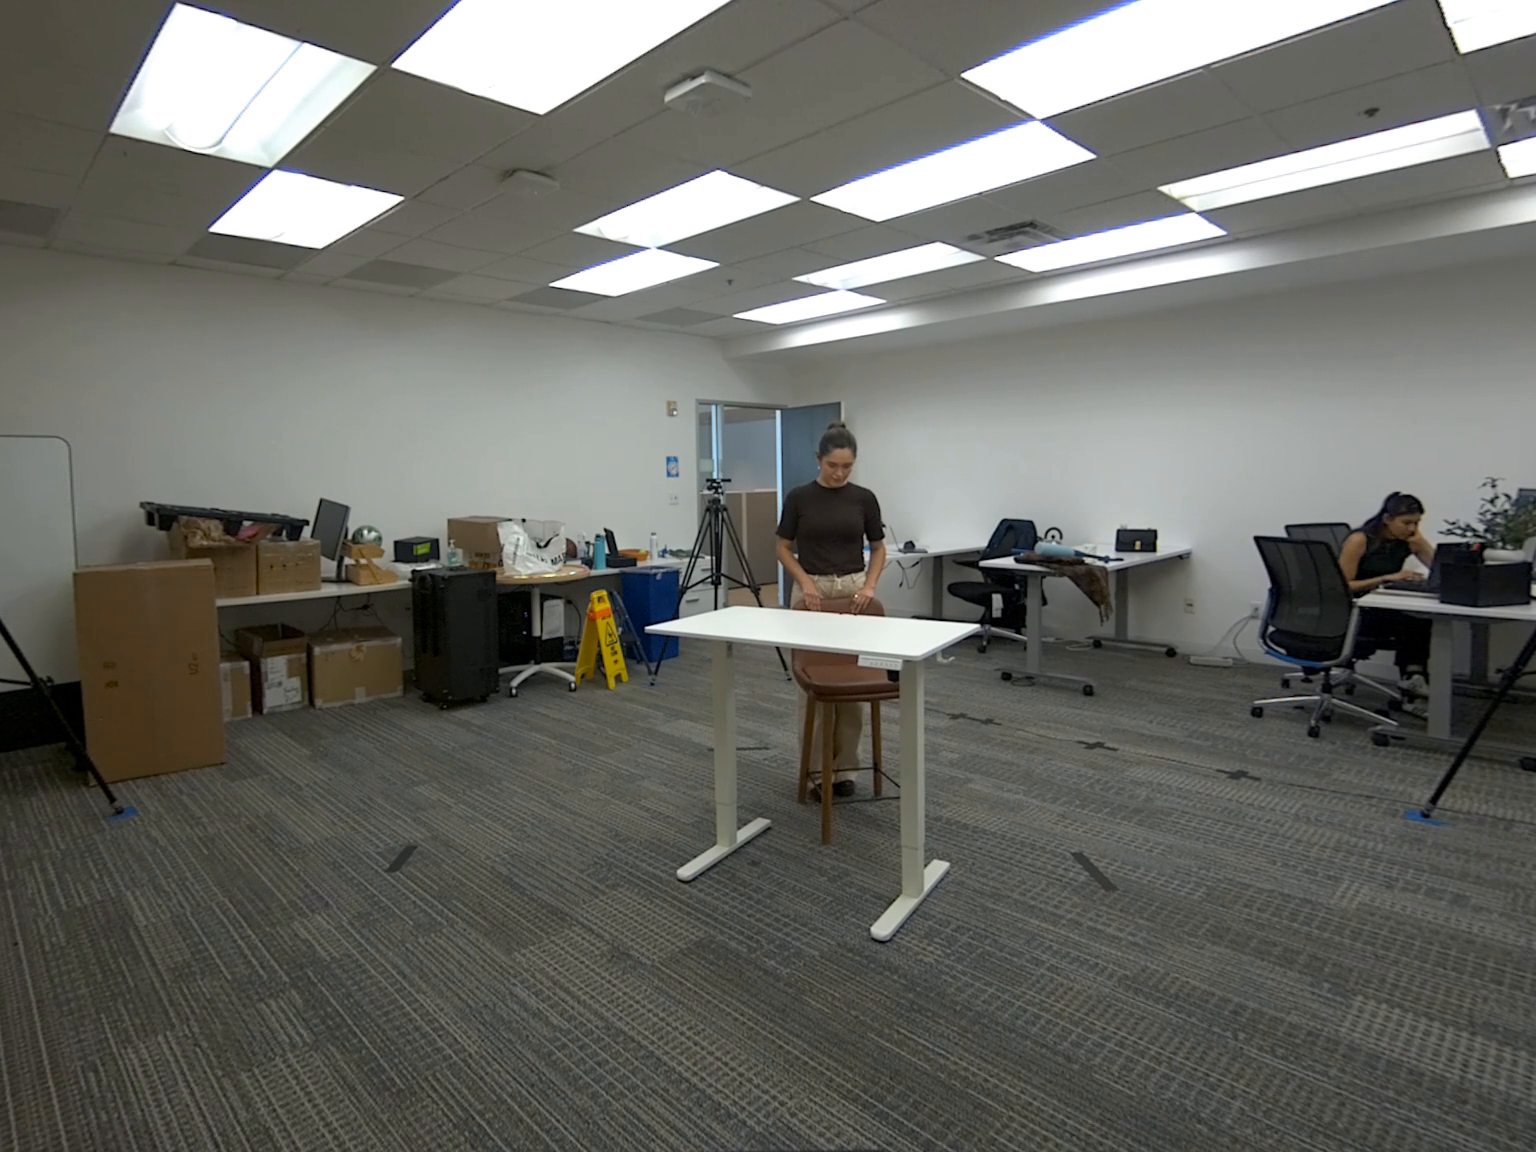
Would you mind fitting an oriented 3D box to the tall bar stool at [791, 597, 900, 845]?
[{"bbox_3d":[0.349,0.558,3.493,0.452,0.888,0.473,-2,2,-11],"label":"tall bar stool"}]
